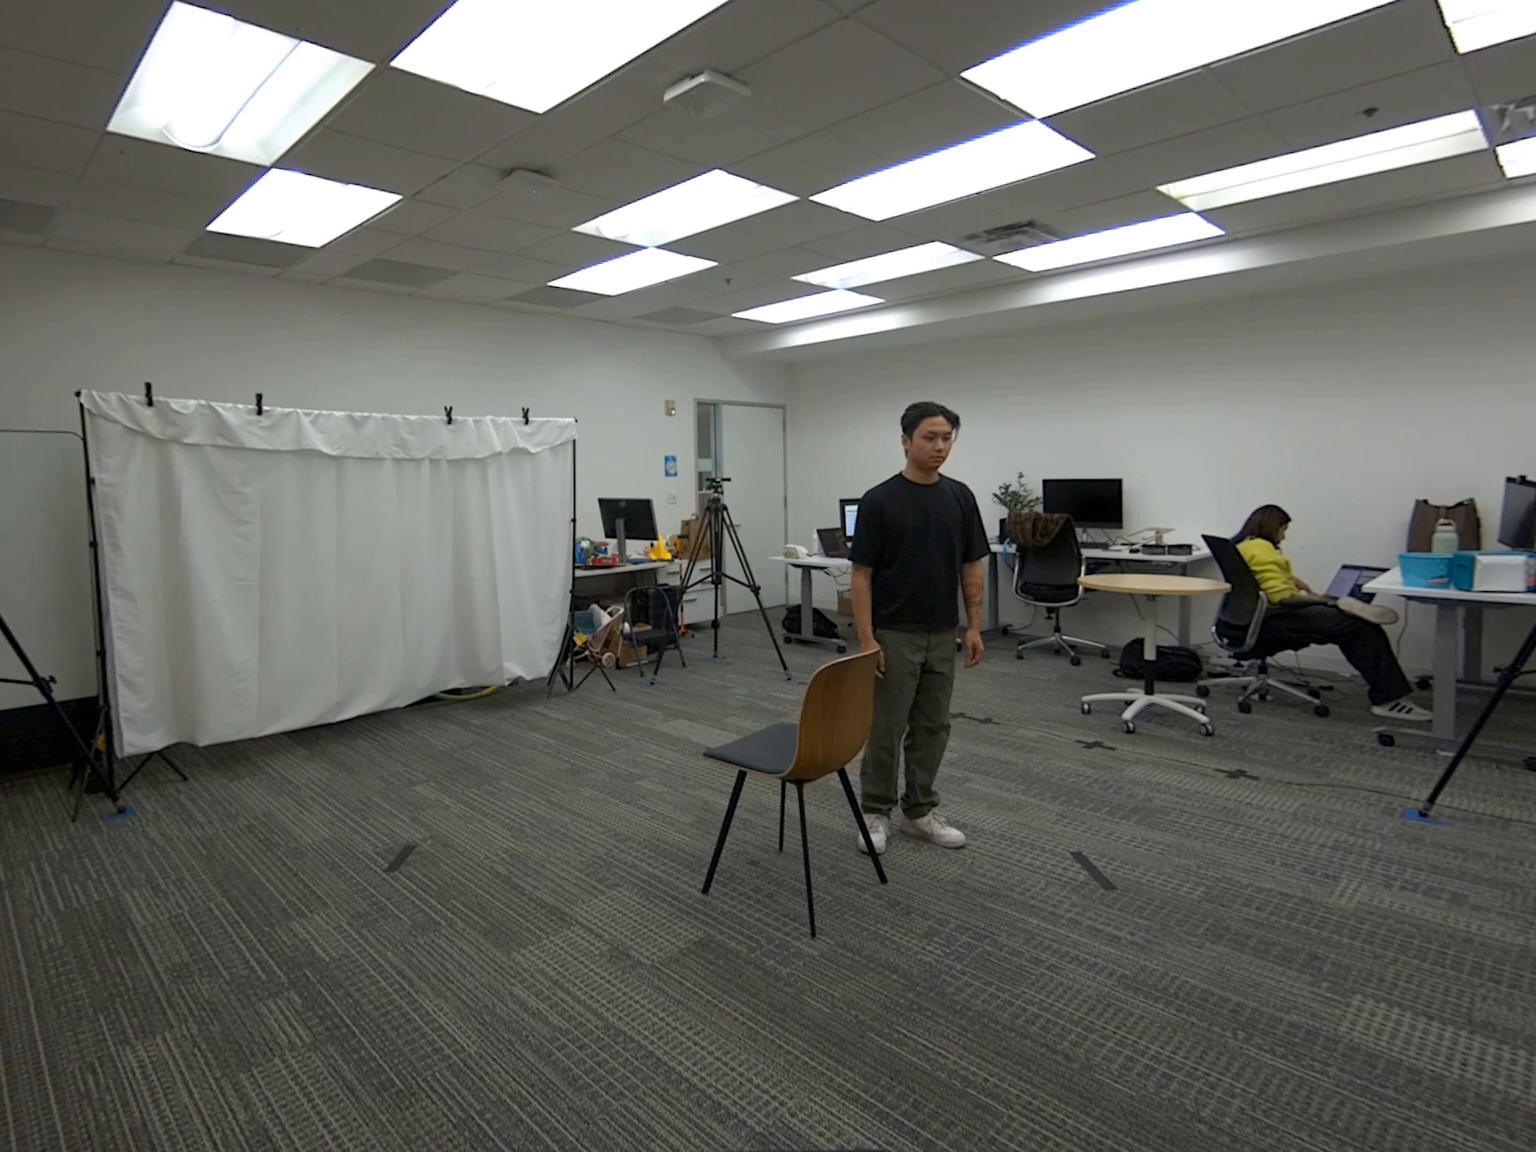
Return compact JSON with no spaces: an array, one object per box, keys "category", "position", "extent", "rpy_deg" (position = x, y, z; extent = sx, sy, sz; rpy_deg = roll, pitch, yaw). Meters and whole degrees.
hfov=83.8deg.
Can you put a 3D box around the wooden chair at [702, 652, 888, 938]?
[{"category":"wooden chair","position":[0.080,0.638,2.876],"extent":[0.540,0.872,0.466],"rpy_deg":[8,9,38]}]
